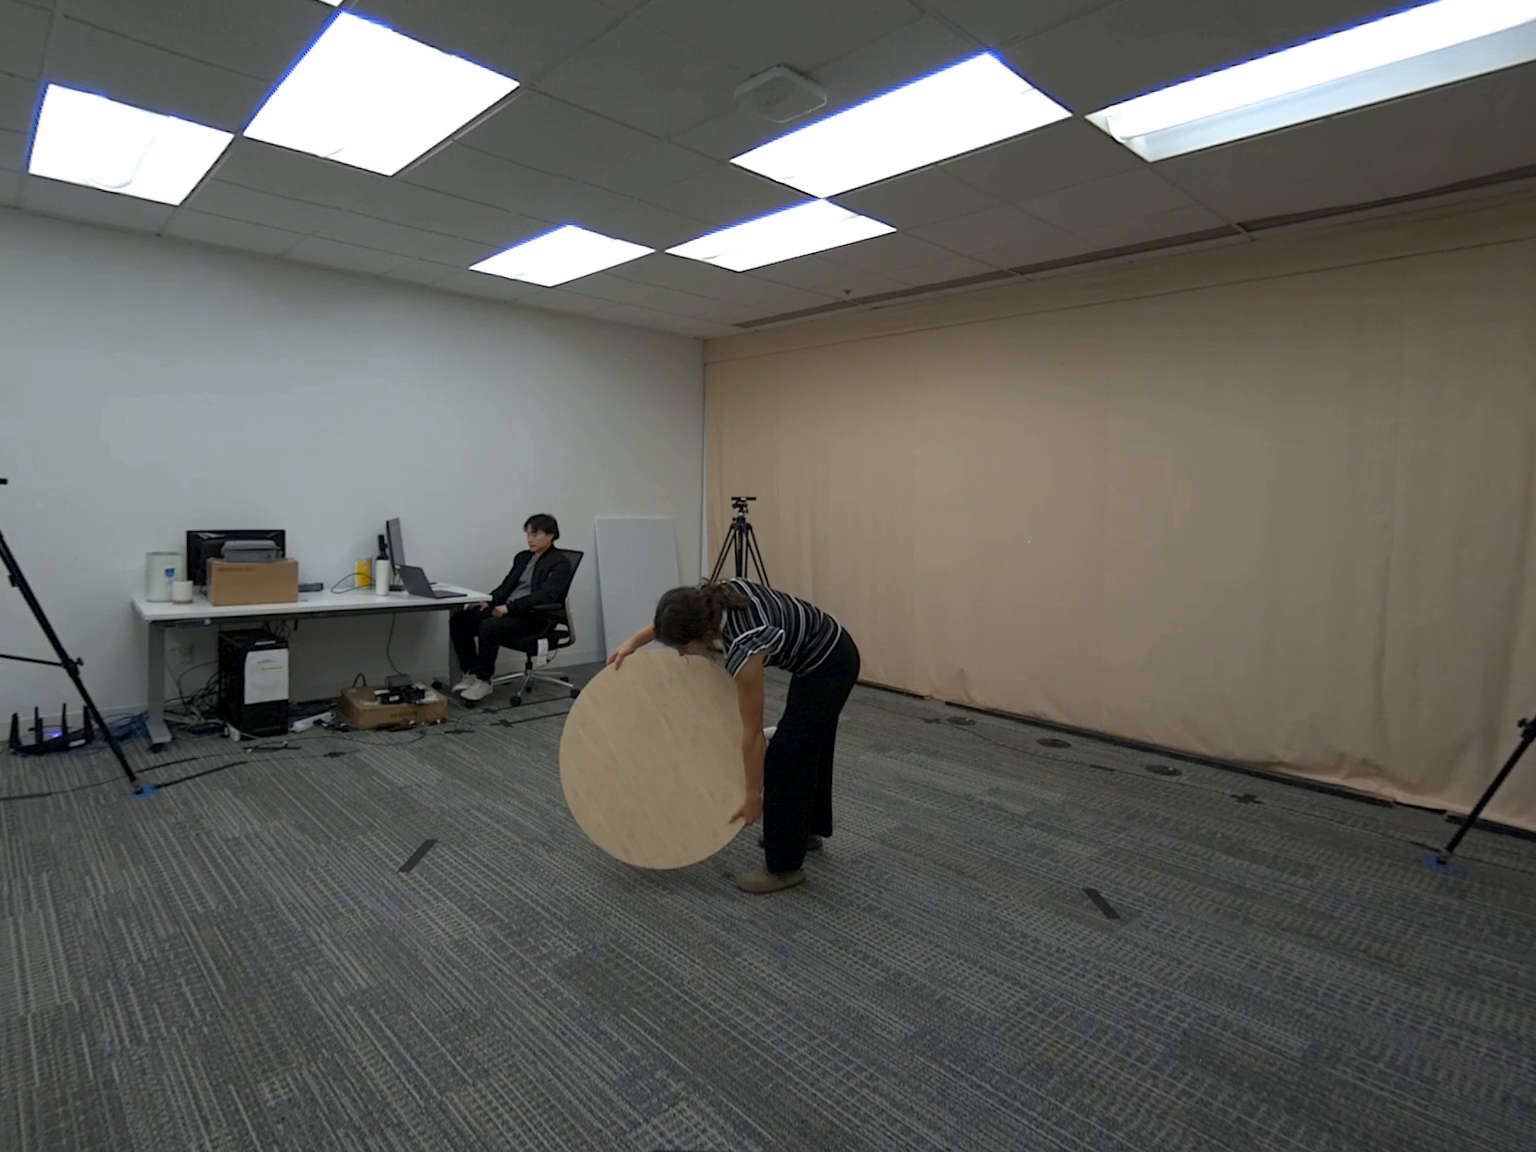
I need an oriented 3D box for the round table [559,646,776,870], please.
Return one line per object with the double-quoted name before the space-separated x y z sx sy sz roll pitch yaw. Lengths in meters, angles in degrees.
"round table" -0.346 0.715 3.402 0.771 0.770 0.781 2 -11 10
